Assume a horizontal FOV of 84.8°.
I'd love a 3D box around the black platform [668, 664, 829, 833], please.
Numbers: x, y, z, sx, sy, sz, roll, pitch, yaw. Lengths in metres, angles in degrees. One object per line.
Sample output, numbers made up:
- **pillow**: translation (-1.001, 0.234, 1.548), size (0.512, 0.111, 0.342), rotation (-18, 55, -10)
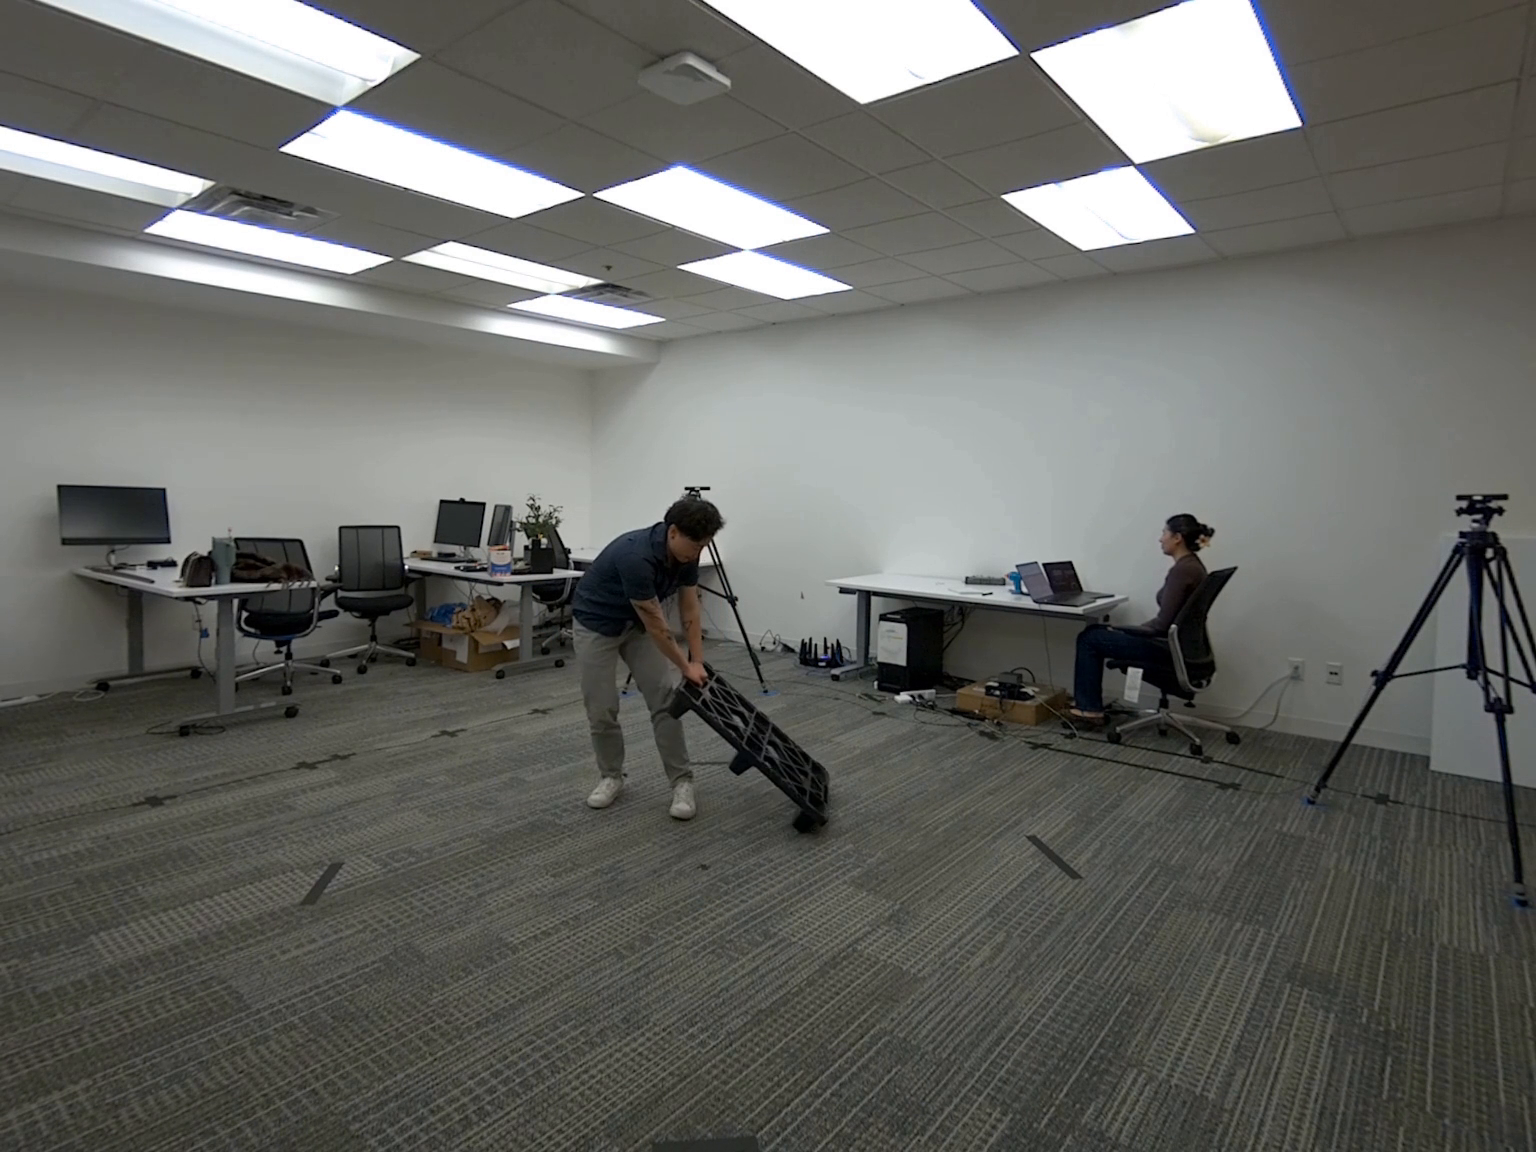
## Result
- **black platform**: translation (-0.093, 0.720, 3.687), size (0.811, 0.143, 0.602), rotation (41, 7, 3)
